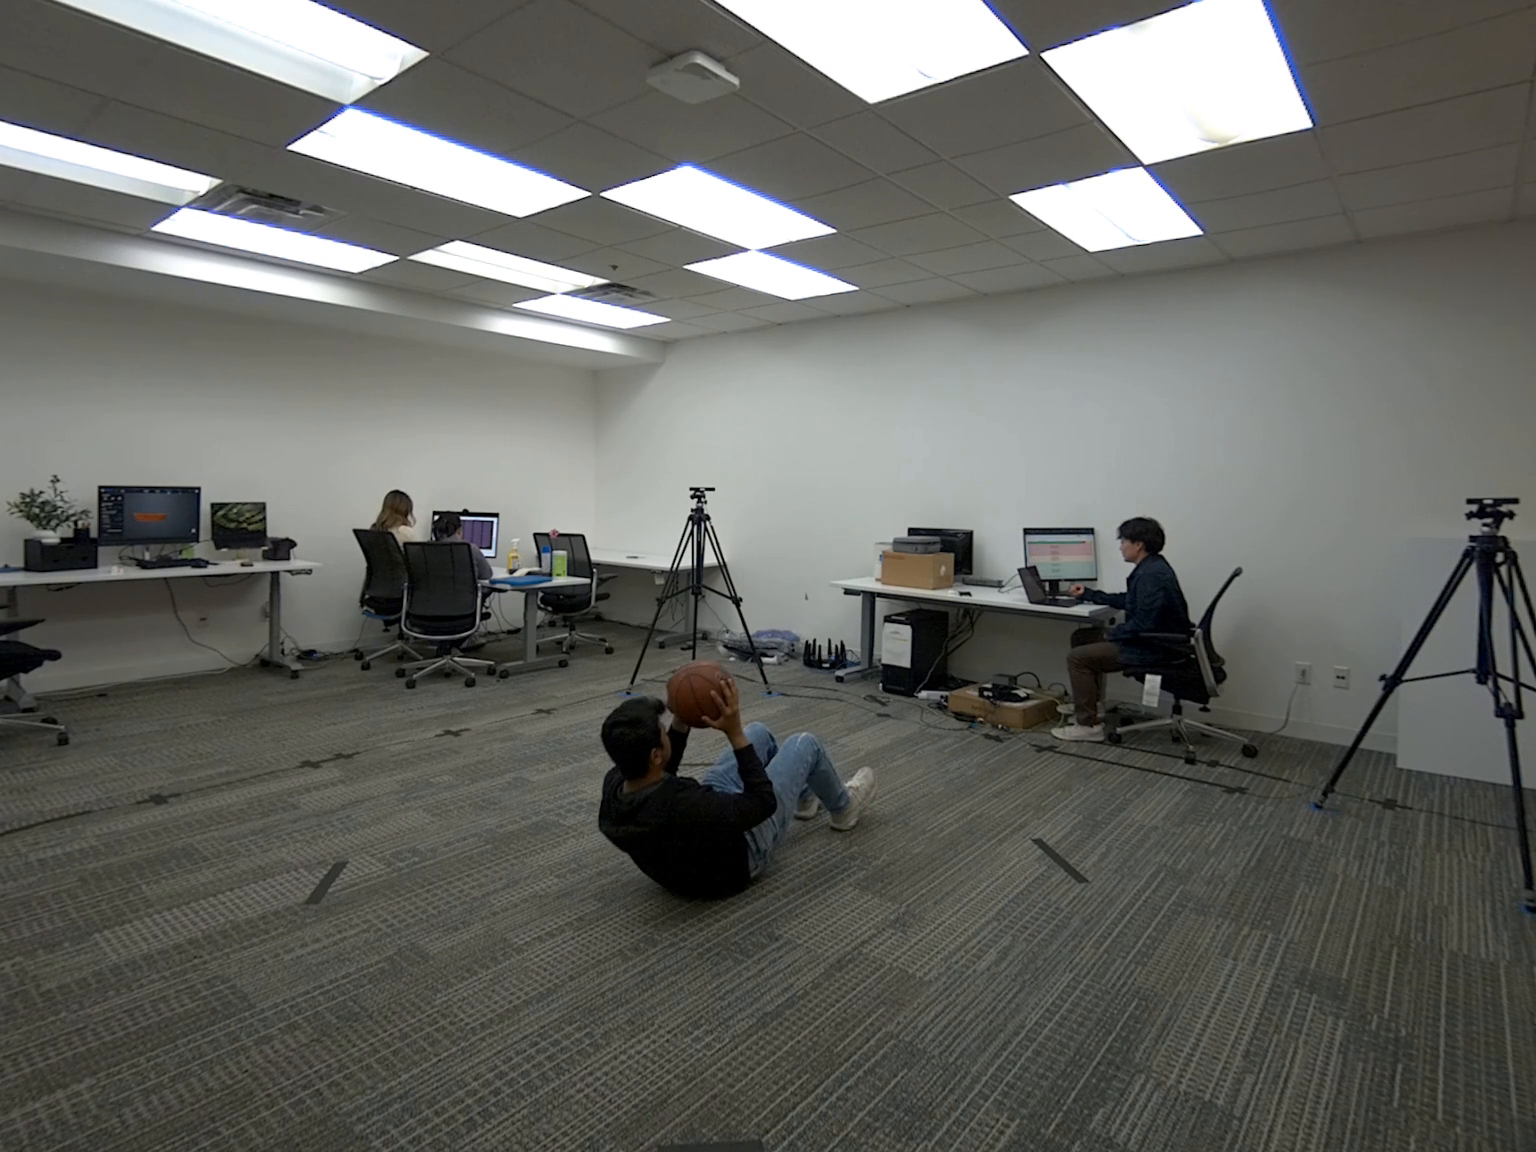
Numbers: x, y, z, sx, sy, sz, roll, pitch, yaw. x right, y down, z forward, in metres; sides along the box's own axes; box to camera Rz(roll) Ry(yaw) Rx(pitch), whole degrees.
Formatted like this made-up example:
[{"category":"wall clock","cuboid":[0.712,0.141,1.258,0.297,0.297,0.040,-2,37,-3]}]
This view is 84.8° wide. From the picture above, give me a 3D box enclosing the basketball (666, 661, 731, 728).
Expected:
[{"category":"basketball","cuboid":[-0.246,0.416,2.952,0.235,0.235,0.237,1,4,-2]}]
